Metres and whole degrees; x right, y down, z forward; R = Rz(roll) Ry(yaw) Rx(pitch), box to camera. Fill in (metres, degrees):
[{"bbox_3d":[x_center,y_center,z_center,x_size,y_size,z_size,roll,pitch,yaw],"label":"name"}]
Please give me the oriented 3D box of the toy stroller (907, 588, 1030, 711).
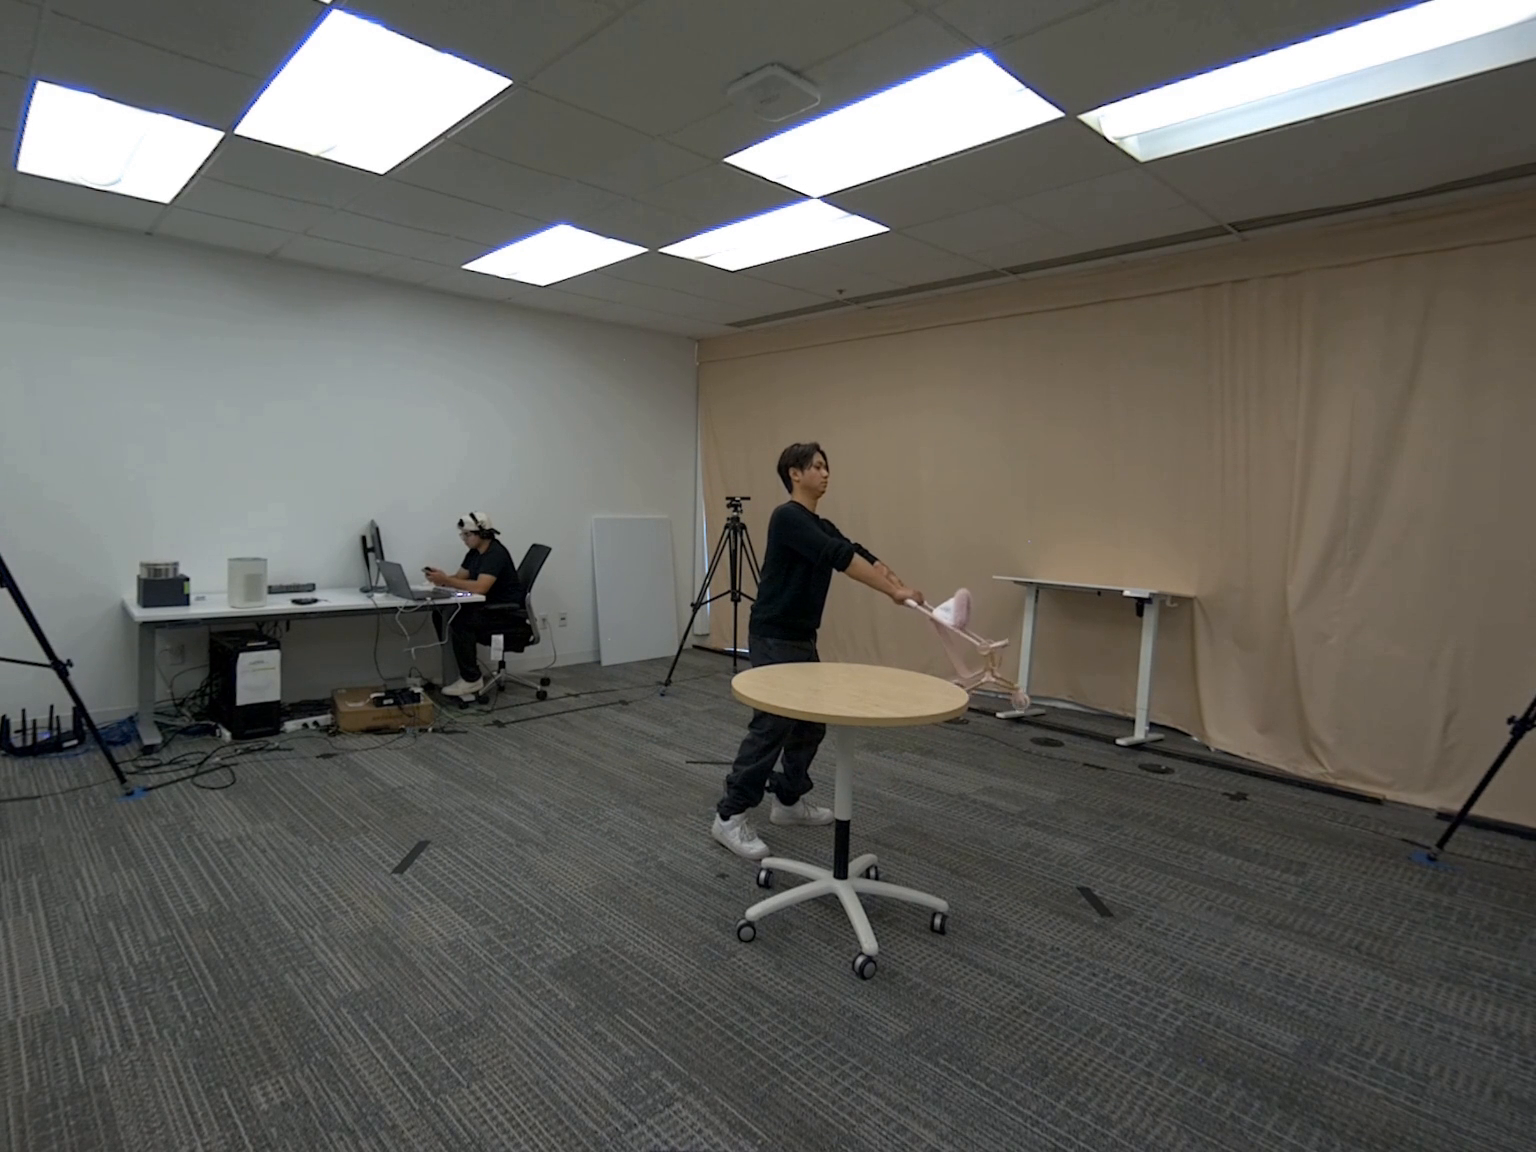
[{"bbox_3d":[0.765,0.292,3.272,0.345,0.540,0.275,-19,-10,26],"label":"toy stroller"}]
